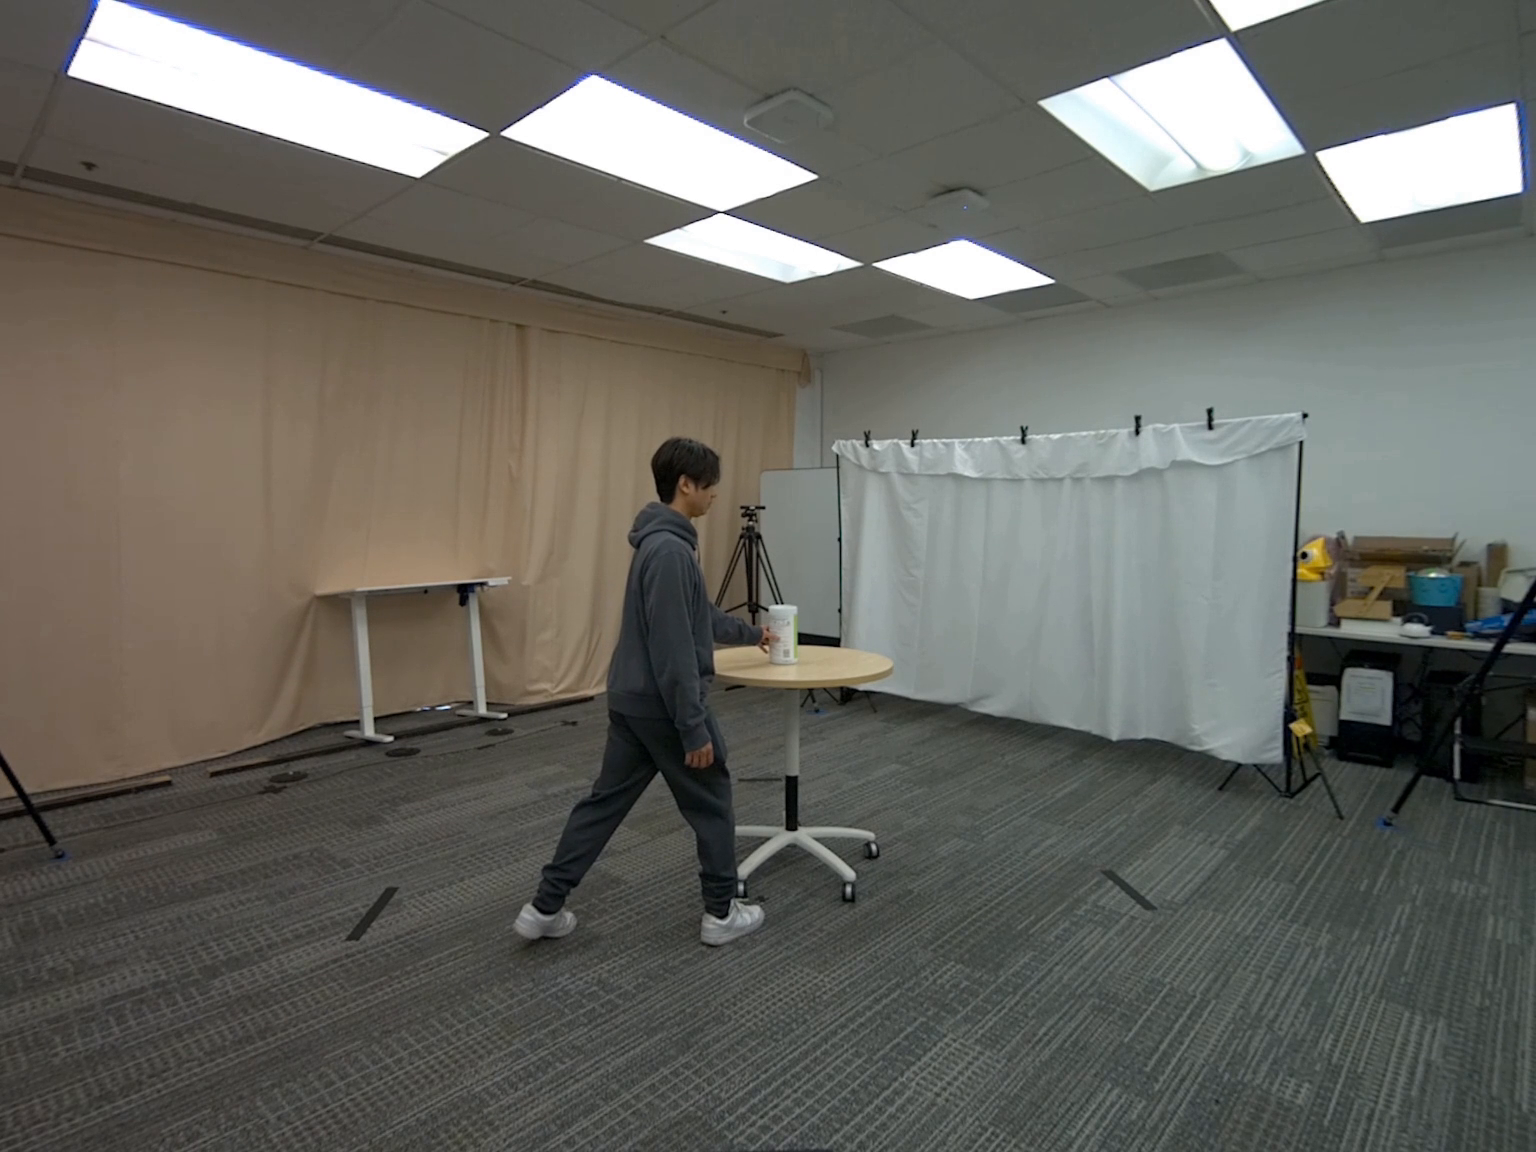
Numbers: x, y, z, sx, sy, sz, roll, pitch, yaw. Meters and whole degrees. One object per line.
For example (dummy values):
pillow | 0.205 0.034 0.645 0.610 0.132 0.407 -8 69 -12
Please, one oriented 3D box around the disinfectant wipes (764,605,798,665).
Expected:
disinfectant wipes | 0.056 0.223 3.189 0.118 0.217 0.118 0 1 -2
